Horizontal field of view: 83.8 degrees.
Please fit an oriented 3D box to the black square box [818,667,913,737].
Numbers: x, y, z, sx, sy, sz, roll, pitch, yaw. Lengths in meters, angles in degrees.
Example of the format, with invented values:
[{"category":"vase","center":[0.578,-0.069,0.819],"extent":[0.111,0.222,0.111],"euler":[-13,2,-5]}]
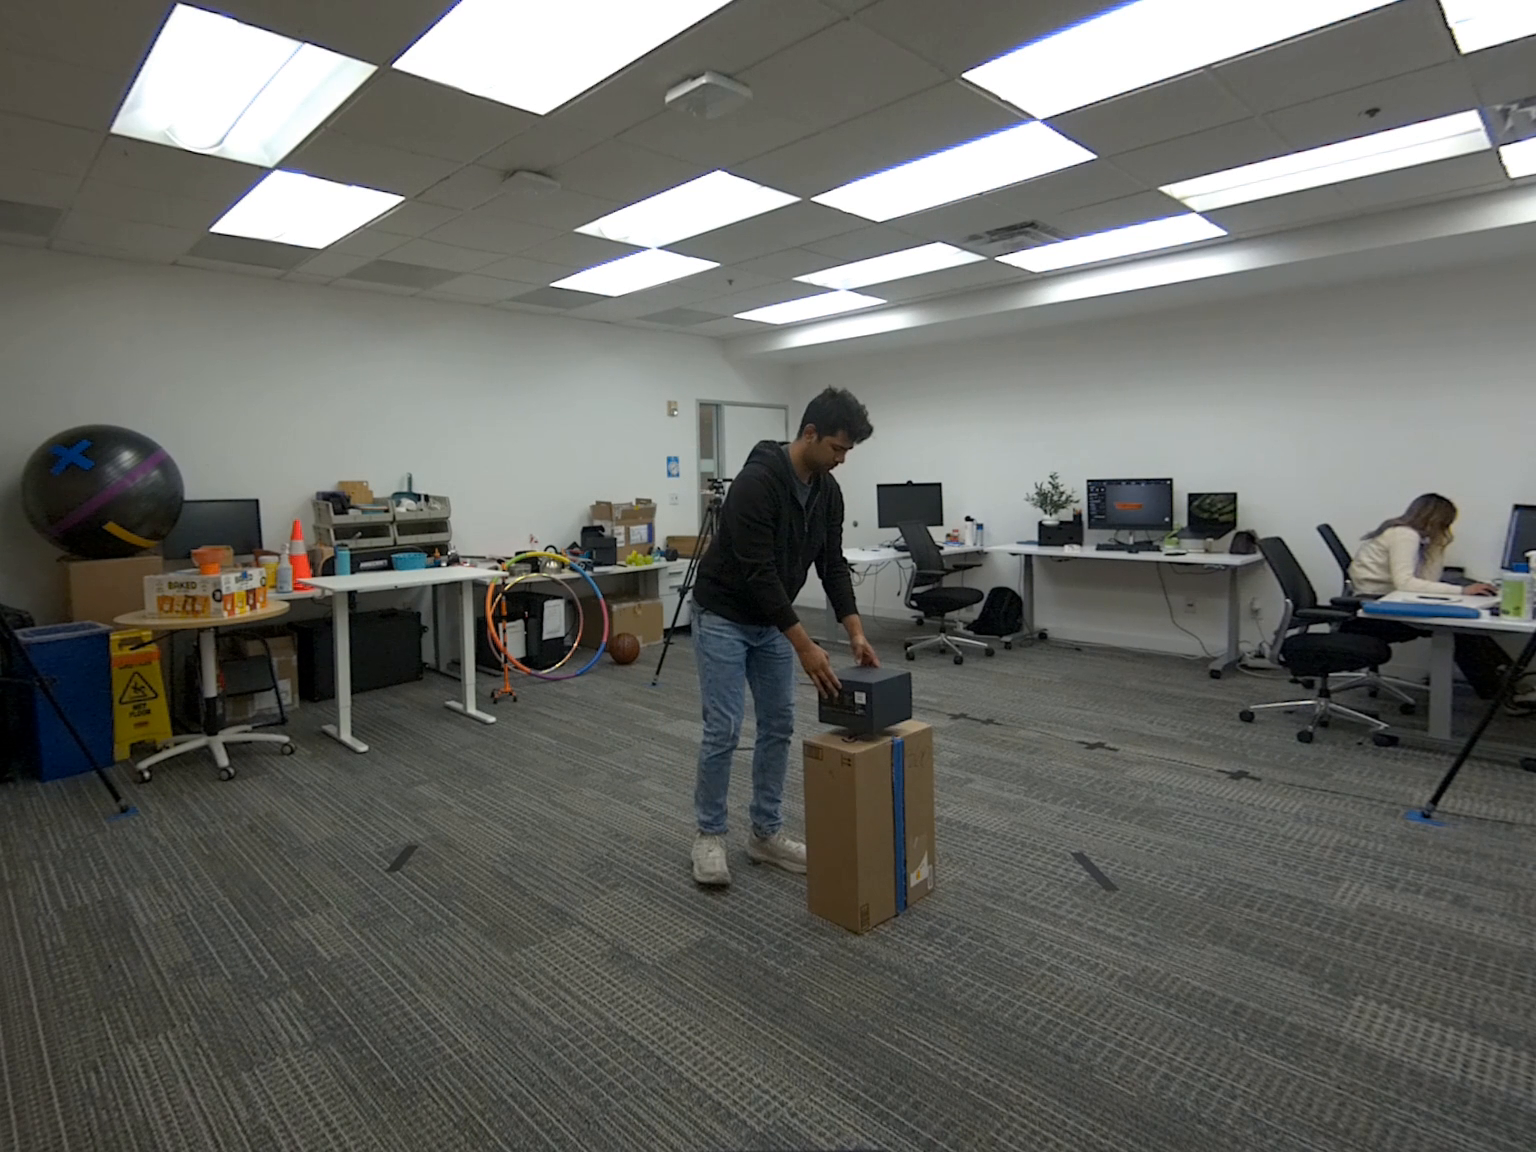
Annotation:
[{"category":"black square box","center":[0.314,0.395,2.792],"extent":[0.223,0.155,0.222],"euler":[0,4,43]}]
